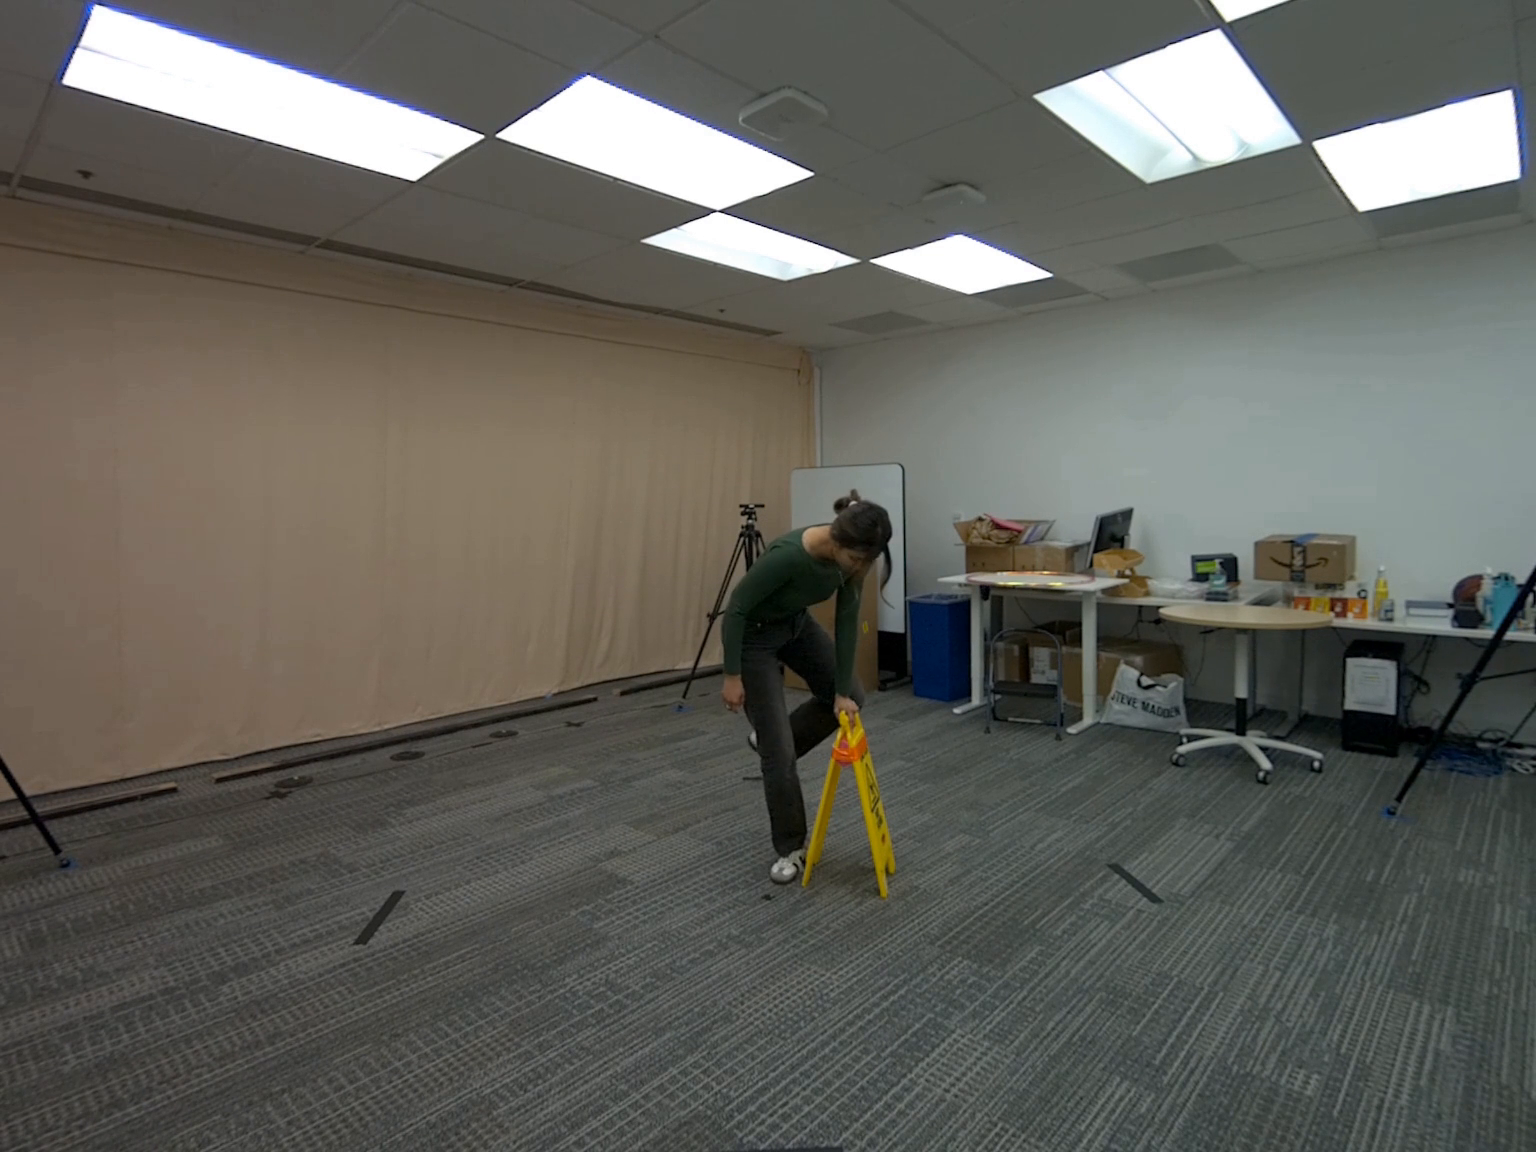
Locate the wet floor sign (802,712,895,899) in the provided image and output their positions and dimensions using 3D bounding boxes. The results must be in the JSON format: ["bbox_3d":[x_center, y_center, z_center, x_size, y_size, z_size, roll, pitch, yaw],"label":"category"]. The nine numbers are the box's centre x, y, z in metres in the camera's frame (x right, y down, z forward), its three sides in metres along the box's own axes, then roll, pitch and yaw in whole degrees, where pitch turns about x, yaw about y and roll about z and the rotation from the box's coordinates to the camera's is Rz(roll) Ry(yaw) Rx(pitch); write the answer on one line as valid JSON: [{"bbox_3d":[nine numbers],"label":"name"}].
[{"bbox_3d":[0.304,0.800,3.115,0.295,0.645,0.277,0,3,18],"label":"wet floor sign"}]
